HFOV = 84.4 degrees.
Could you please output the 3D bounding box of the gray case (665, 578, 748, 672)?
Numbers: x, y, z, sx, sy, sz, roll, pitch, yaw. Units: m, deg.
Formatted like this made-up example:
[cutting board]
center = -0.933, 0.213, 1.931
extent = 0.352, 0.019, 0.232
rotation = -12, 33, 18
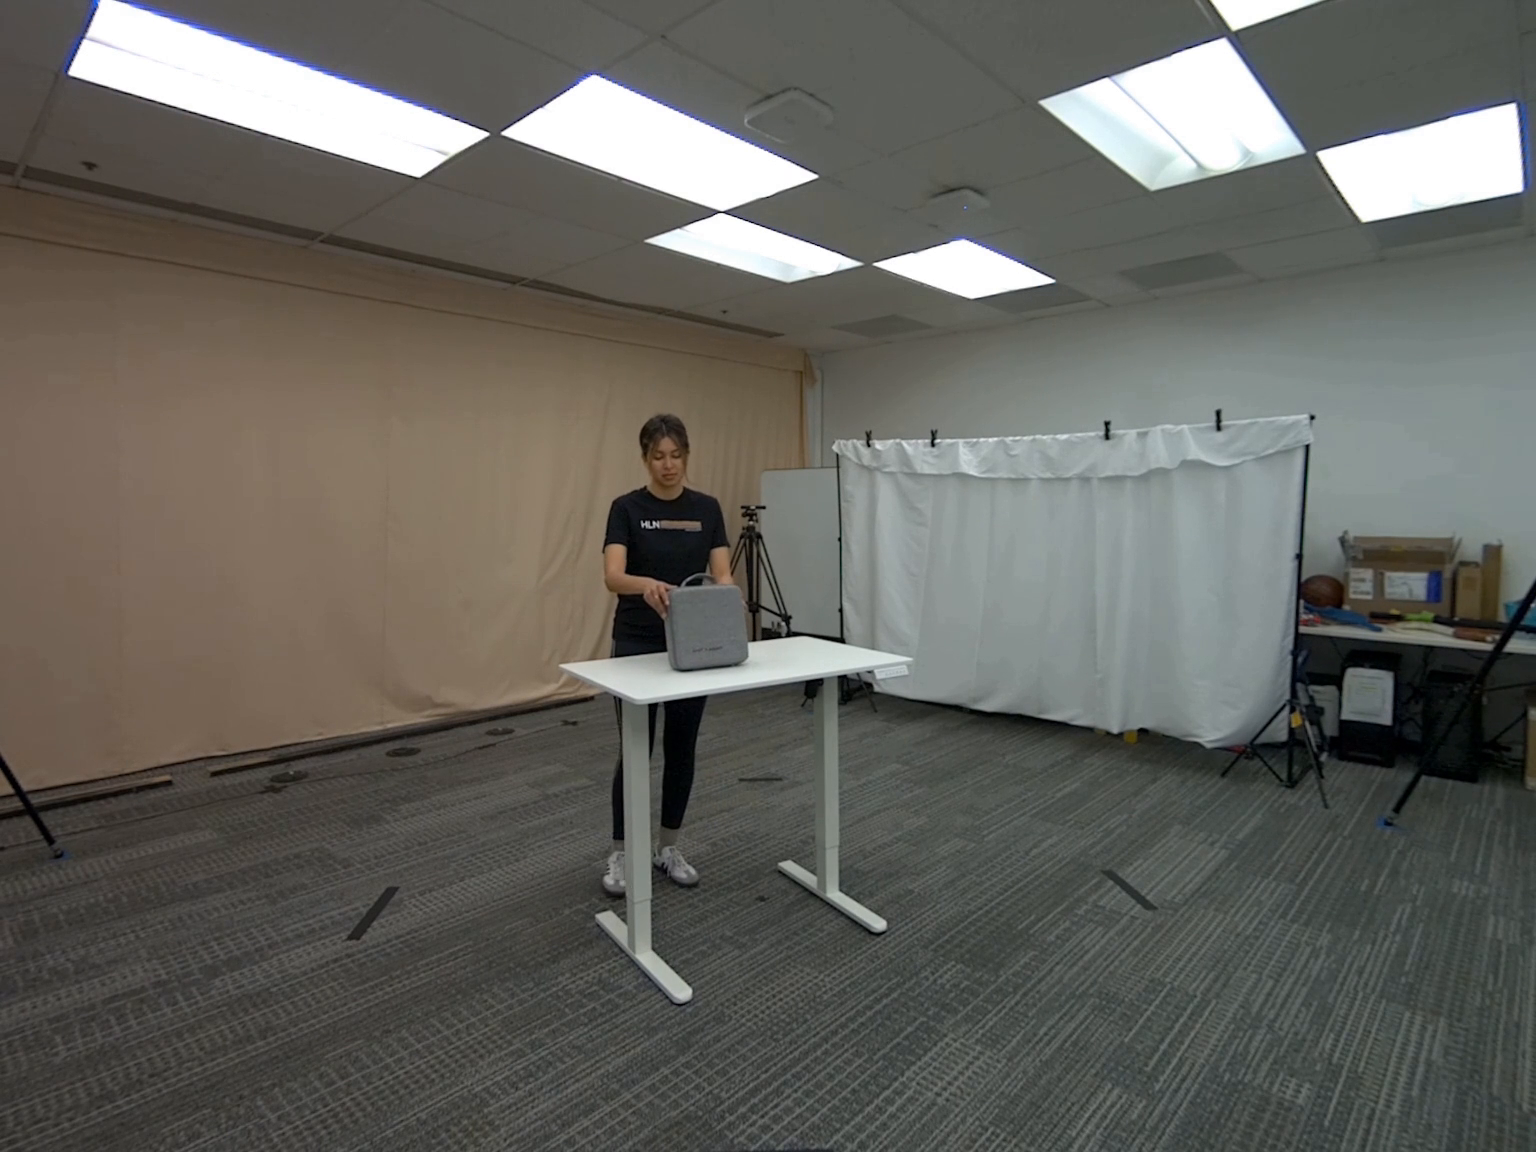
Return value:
[gray case]
center = -0.198, 0.160, 2.672
extent = 0.251, 0.261, 0.106
rotation = -3, -5, -23
